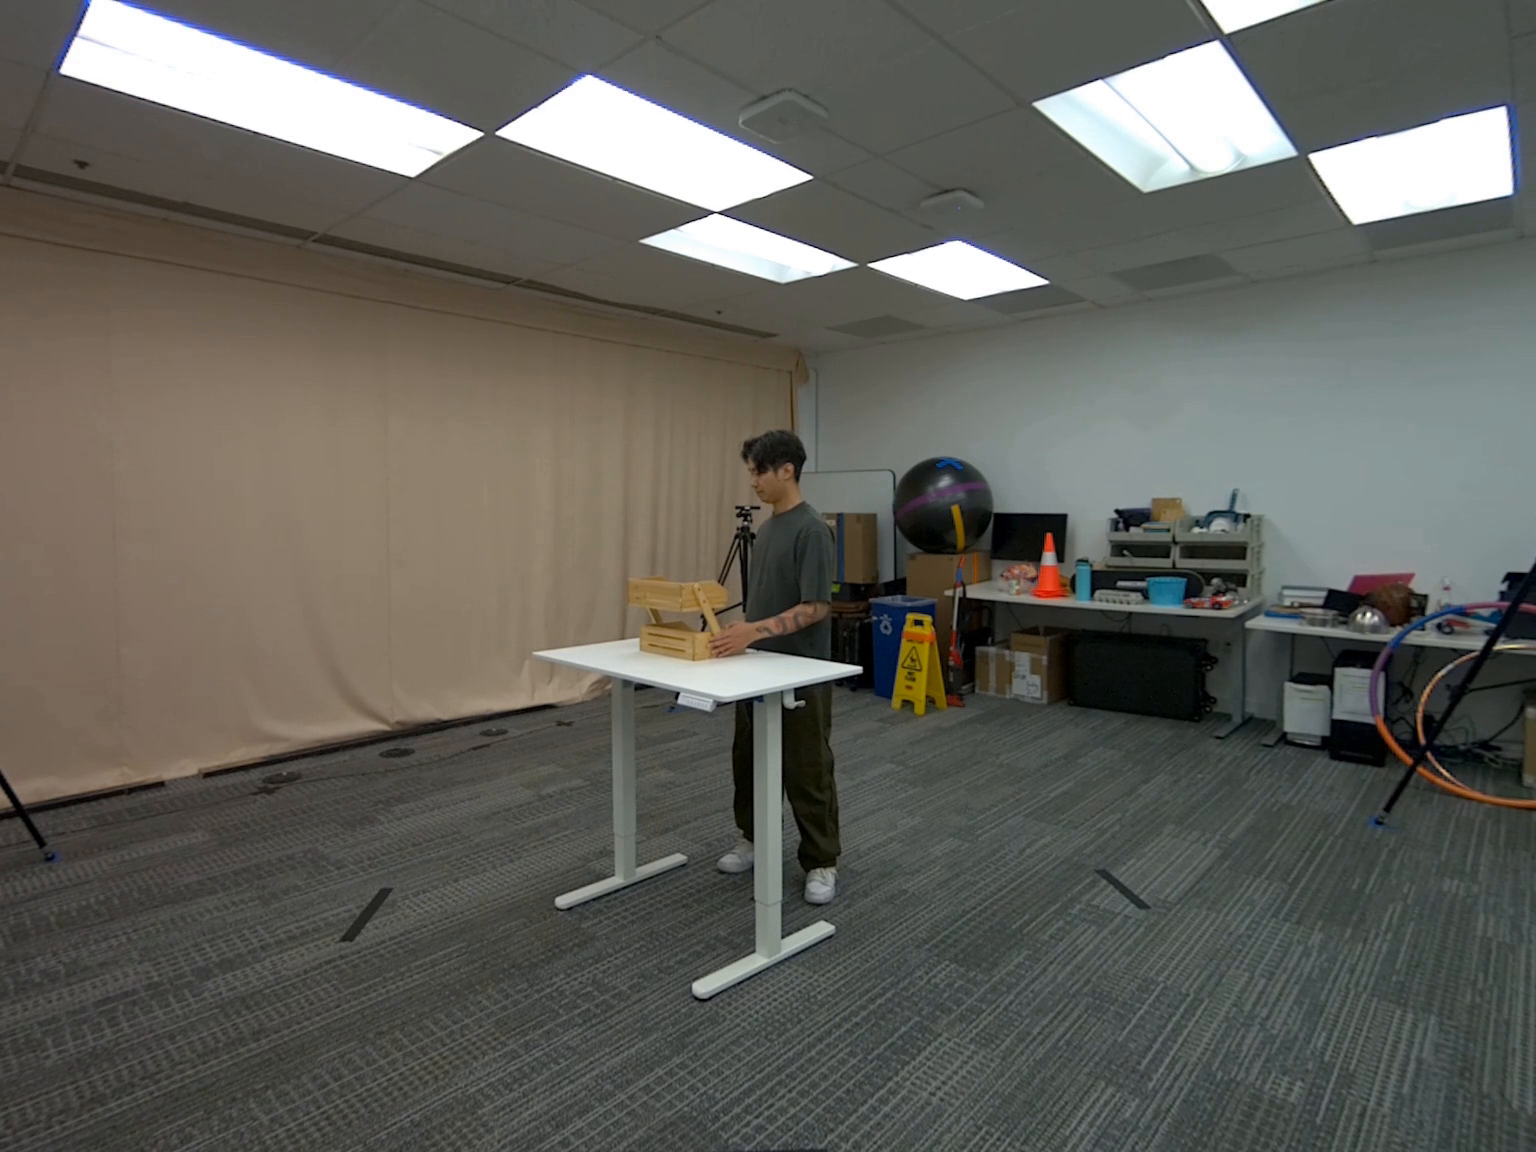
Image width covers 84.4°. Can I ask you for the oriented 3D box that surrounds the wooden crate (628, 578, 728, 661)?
[{"bbox_3d":[-0.279,0.136,2.941,0.293,0.273,0.335,-4,5,-44],"label":"wooden crate"}]
